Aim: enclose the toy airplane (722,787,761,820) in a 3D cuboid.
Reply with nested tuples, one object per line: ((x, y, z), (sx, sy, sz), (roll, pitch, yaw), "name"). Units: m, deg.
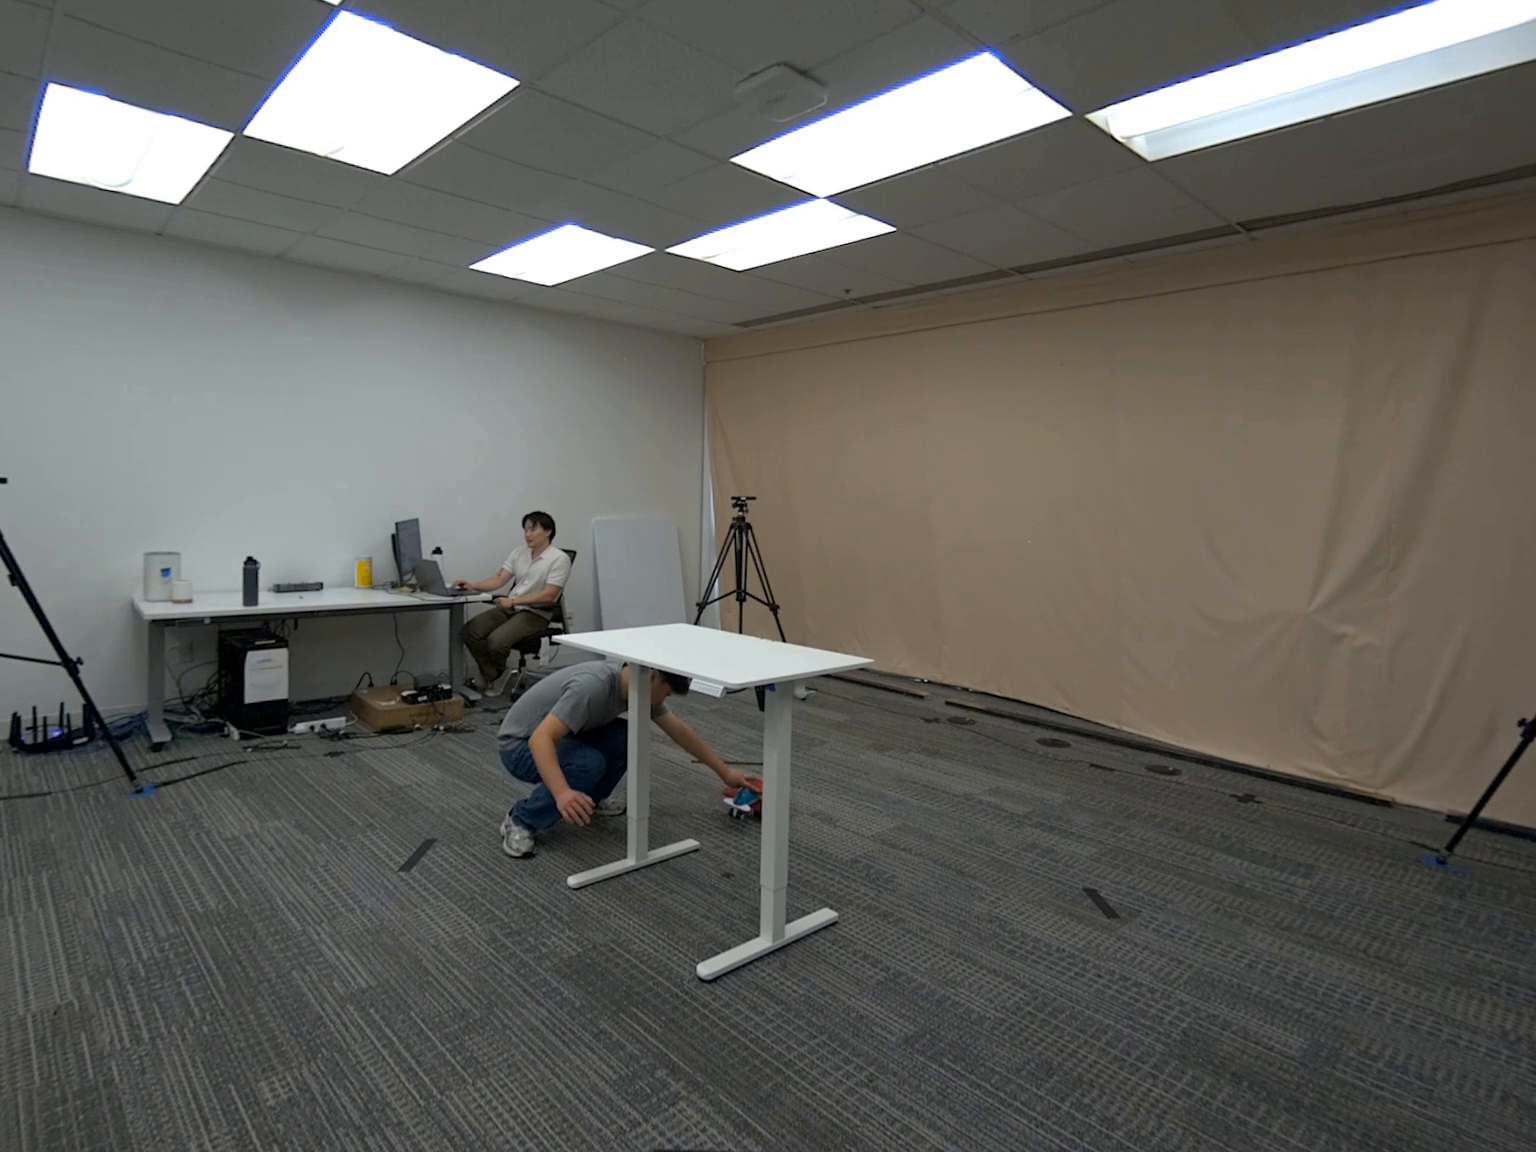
((-0.083, 0.964, 3.647), (0.249, 0.157, 0.260), (18, -5, -9), "toy airplane")
